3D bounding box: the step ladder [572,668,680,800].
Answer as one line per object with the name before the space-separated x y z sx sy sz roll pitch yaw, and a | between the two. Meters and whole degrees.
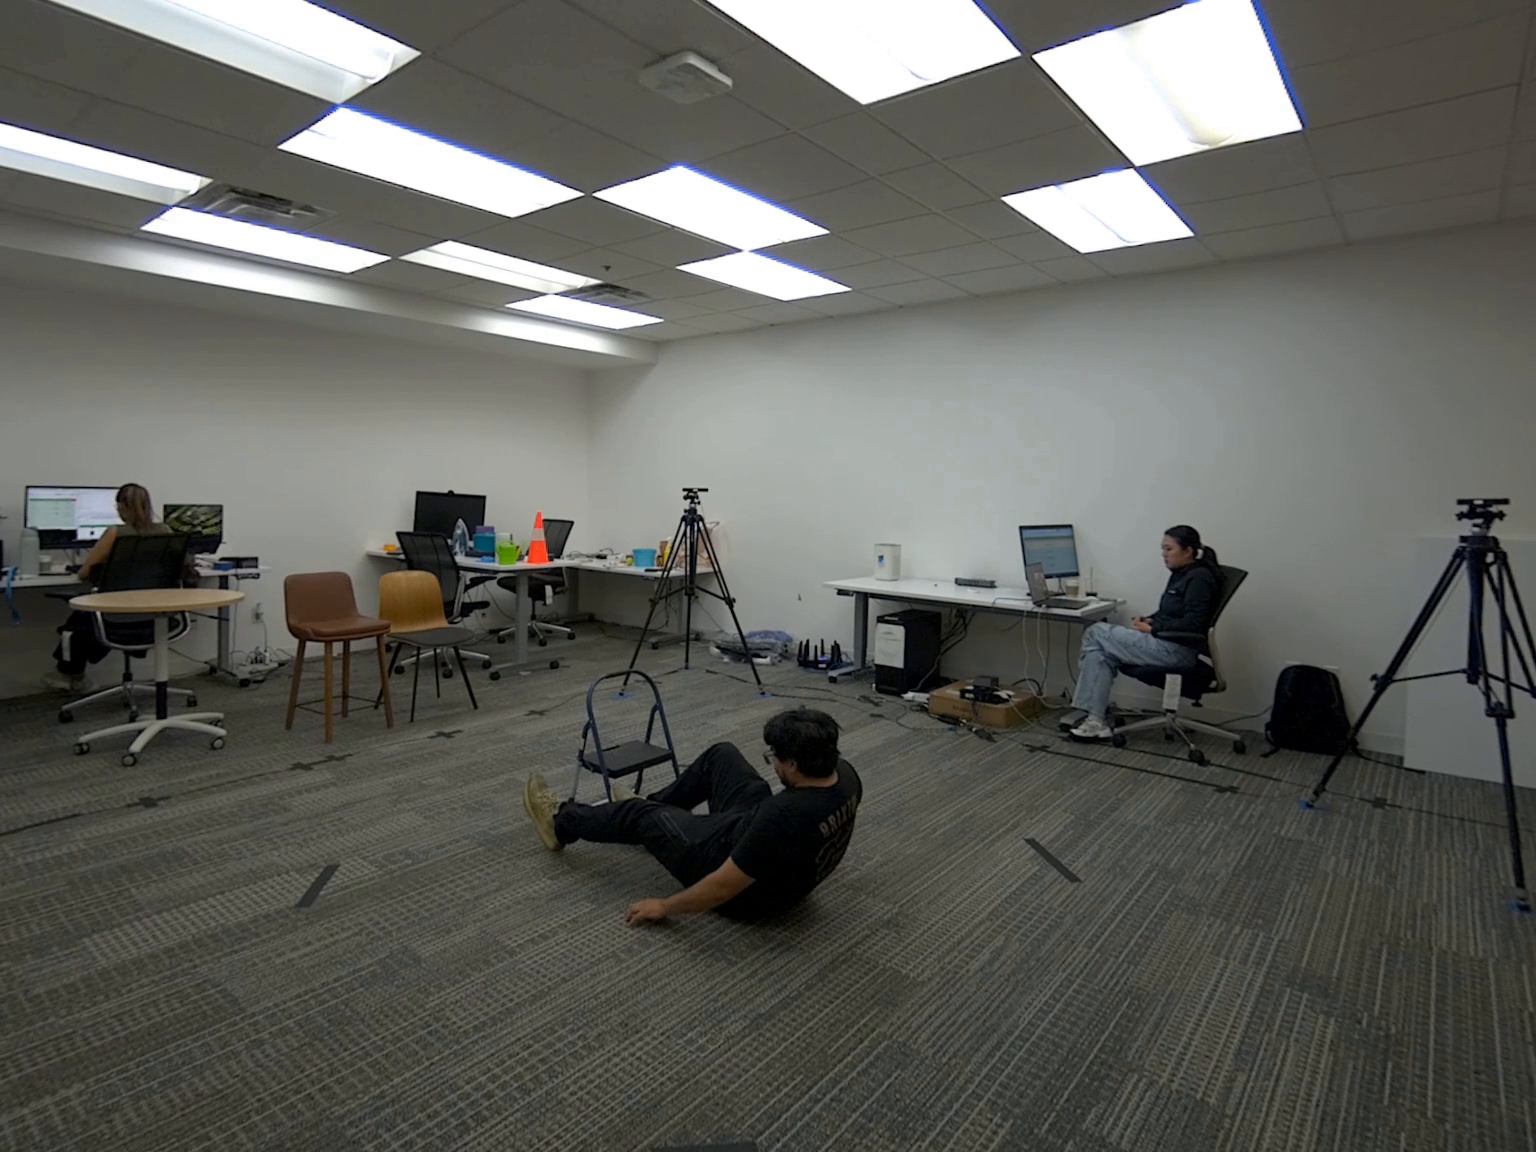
step ladder | -0.596 0.712 3.600 0.361 0.605 0.418 3 4 38
